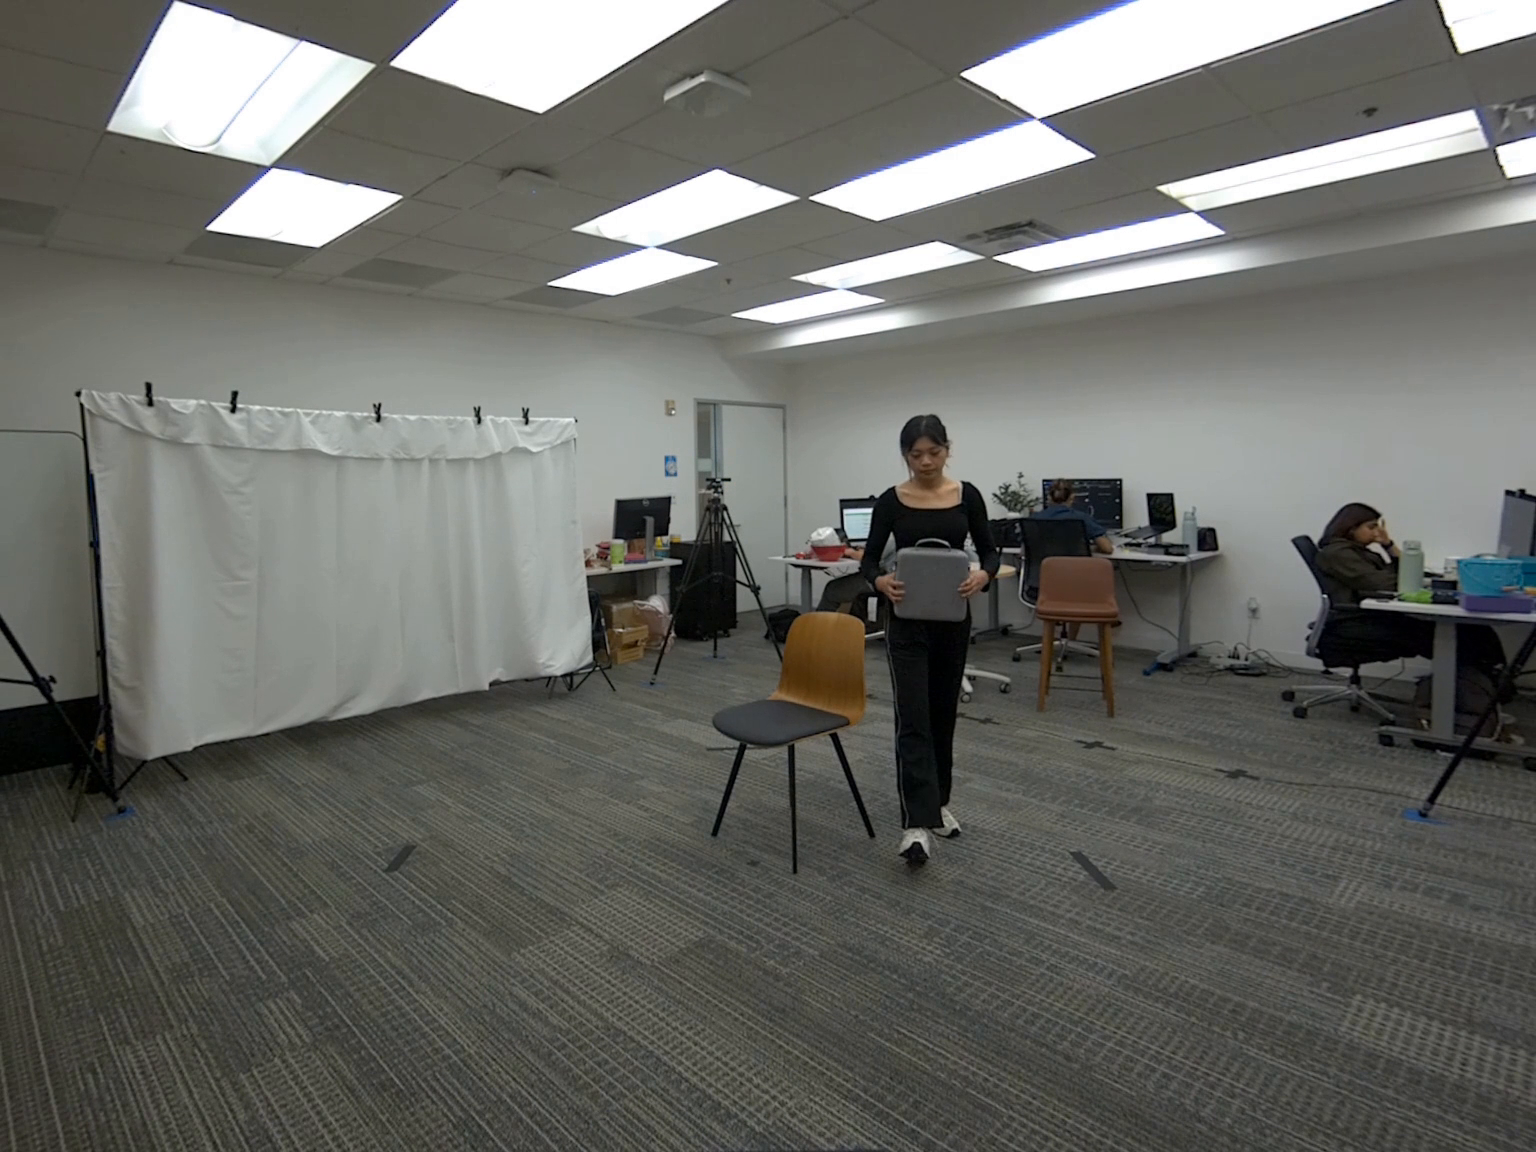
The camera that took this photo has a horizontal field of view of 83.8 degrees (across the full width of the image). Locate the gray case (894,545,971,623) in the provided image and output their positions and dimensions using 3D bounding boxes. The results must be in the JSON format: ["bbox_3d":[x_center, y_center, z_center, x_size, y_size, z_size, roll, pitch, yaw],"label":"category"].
[{"bbox_3d":[0.581,0.030,3.065,0.259,0.258,0.104,1,10,6],"label":"gray case"}]
